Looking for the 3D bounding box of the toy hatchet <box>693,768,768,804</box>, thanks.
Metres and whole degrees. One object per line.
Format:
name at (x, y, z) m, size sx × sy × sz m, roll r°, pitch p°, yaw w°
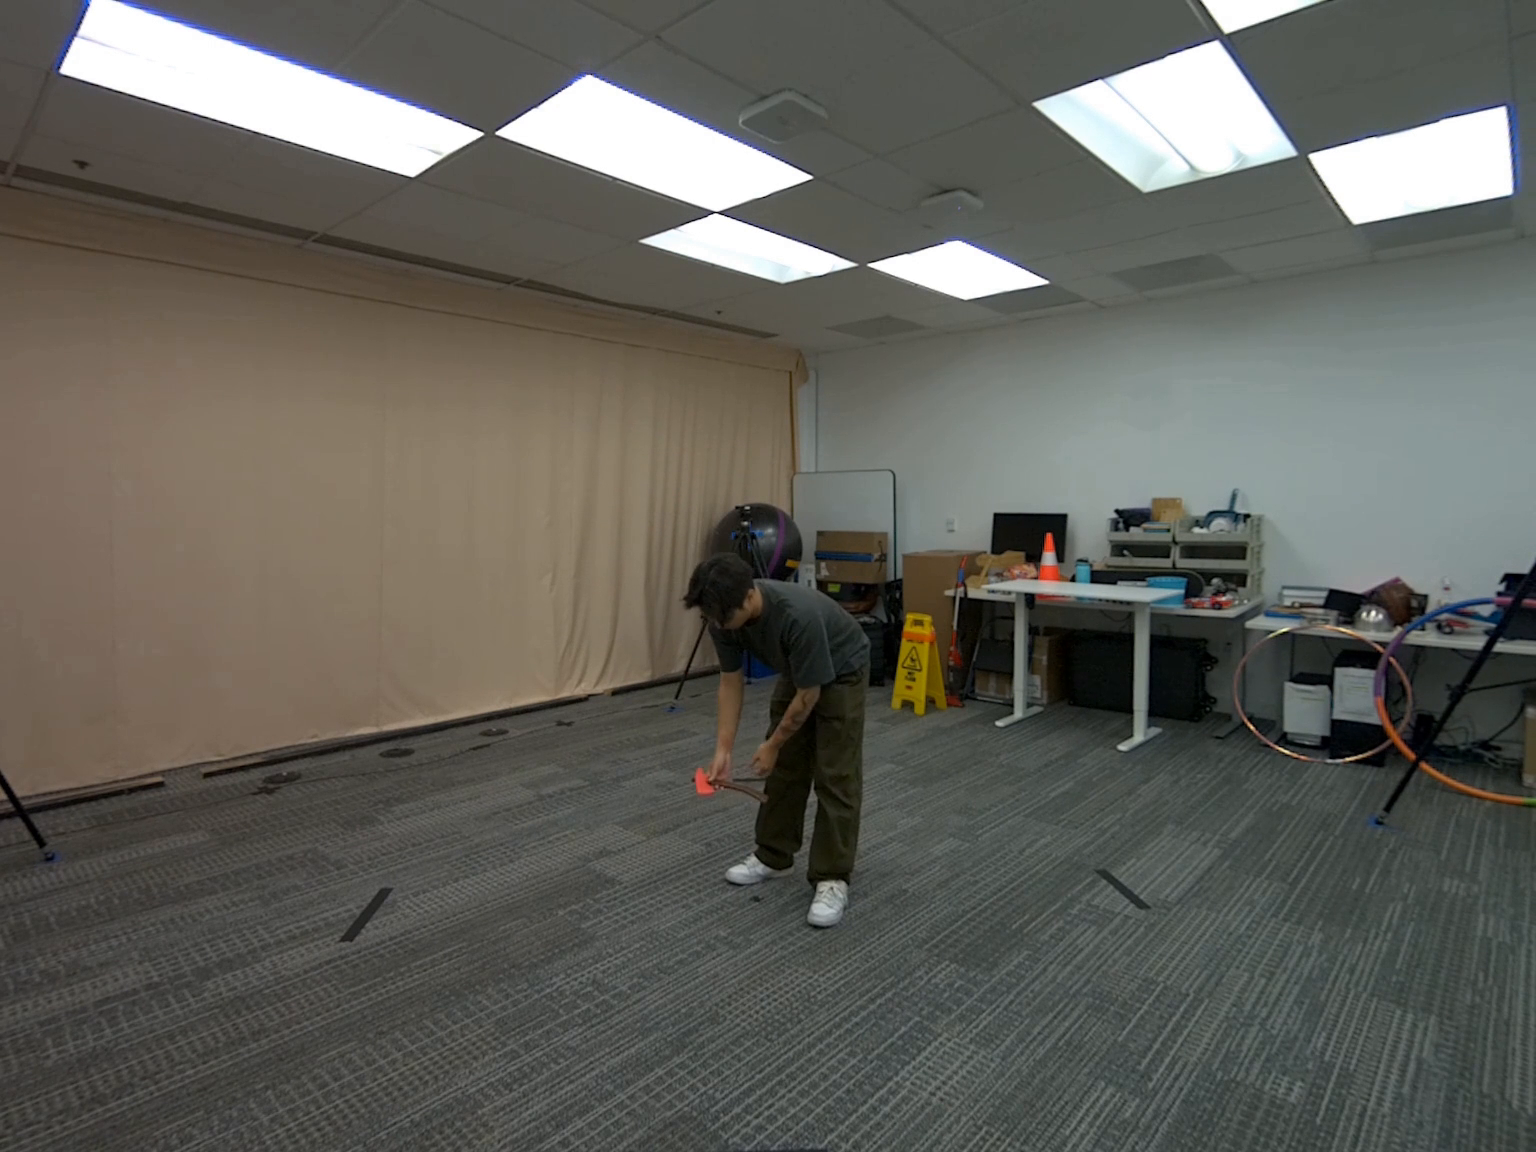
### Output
toy hatchet at (-0.134, 0.748, 2.892) m, size 0.274 × 0.029 × 0.130 m, roll 18°, pitch 20°, yaw 11°
